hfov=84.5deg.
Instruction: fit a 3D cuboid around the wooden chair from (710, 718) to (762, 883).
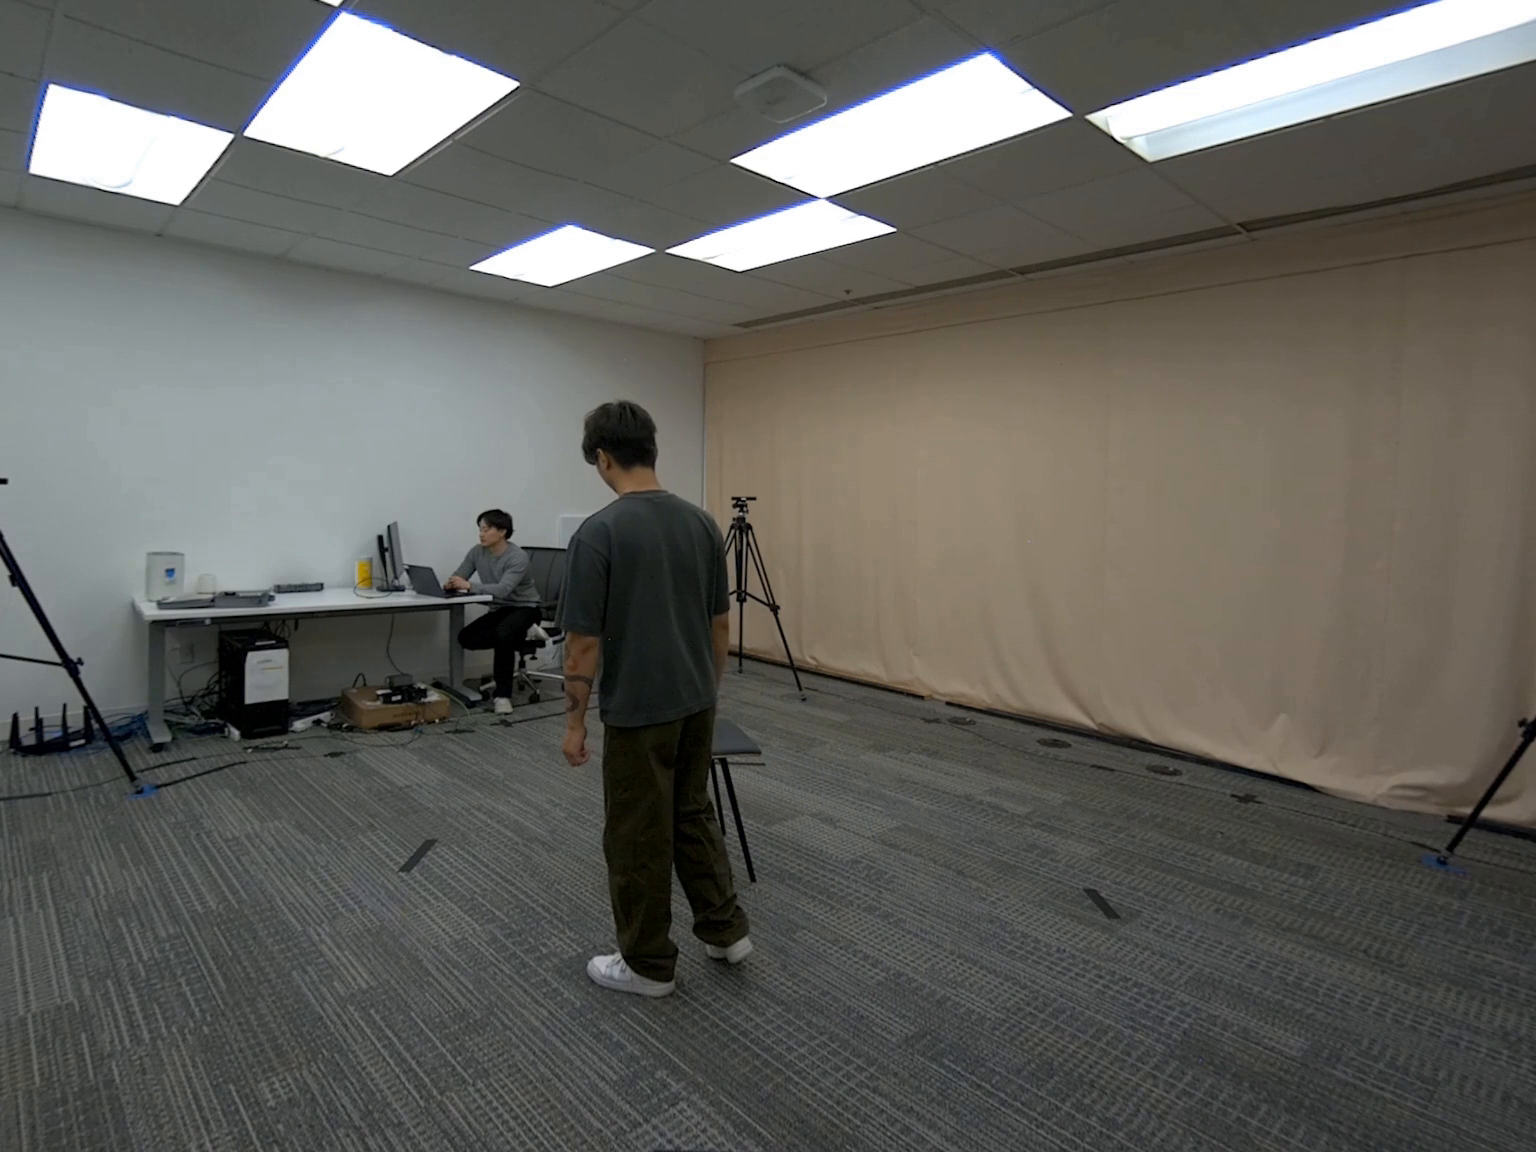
[{"bbox_3d":[-0.311,0.672,3.184,0.517,0.874,0.485,-4,5,-16],"label":"wooden chair"}]
